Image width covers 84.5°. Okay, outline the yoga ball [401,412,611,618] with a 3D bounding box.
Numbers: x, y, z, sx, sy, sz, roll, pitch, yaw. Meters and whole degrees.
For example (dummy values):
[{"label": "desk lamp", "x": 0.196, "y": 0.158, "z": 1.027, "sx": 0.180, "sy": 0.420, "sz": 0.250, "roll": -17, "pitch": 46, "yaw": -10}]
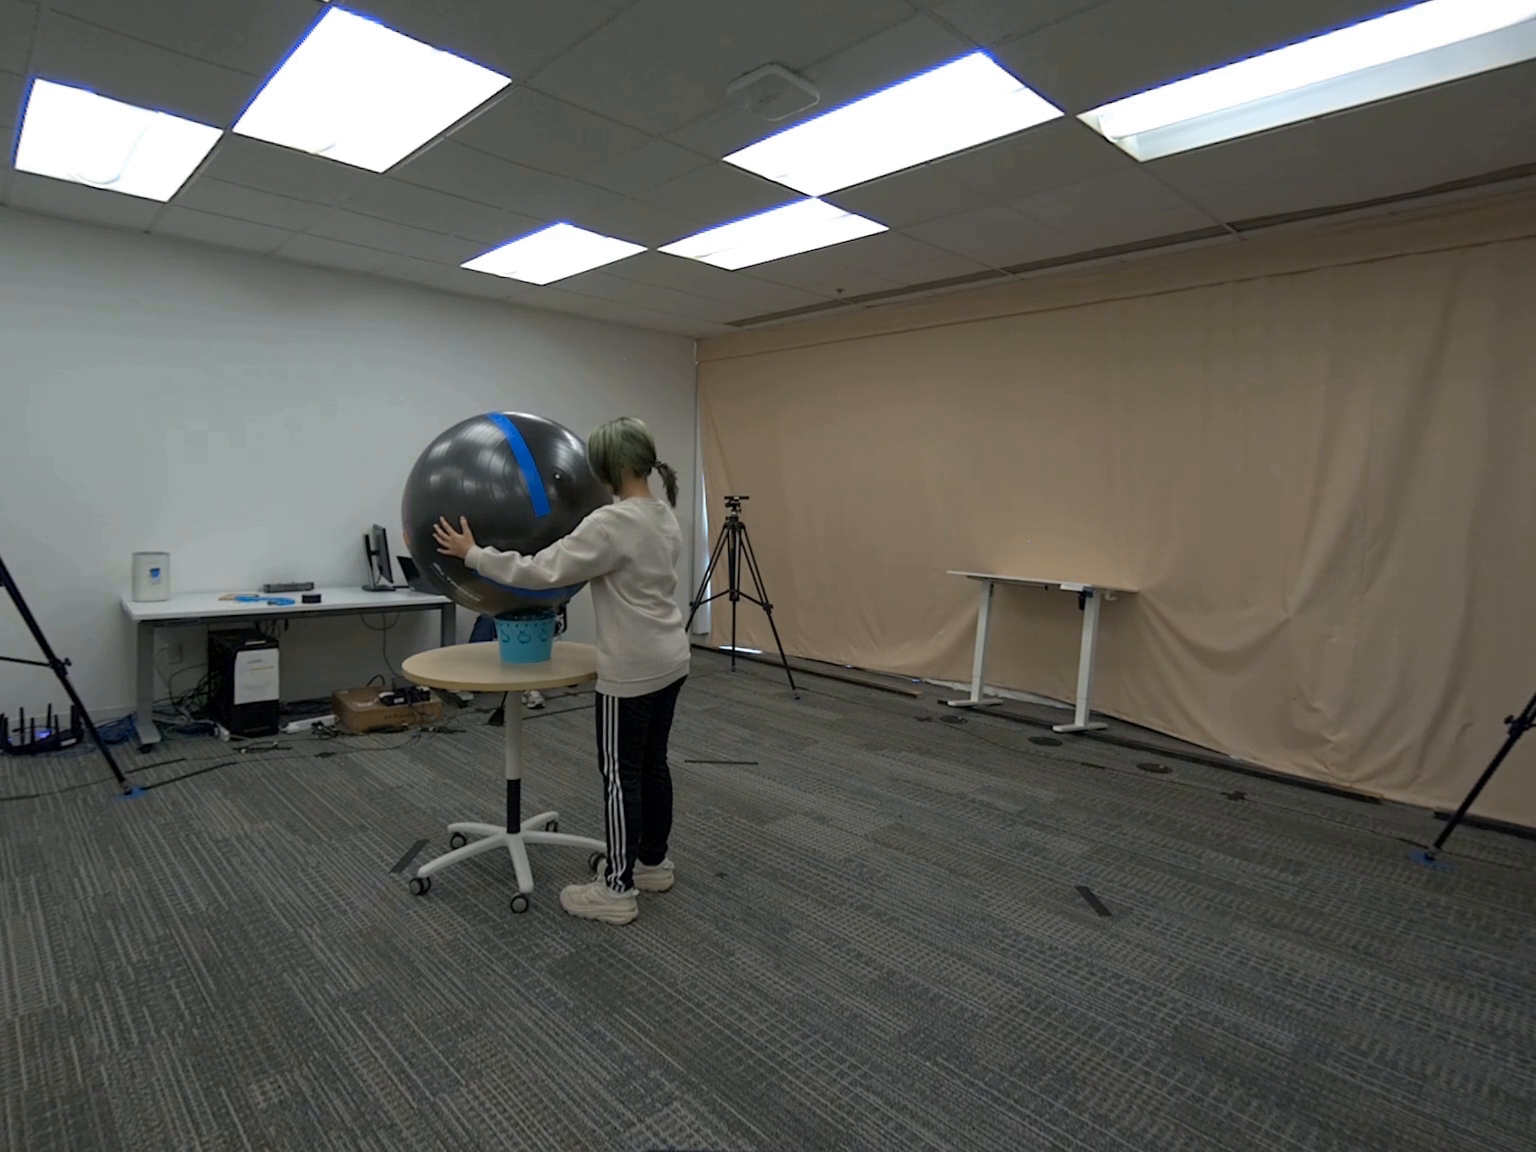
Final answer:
[{"label": "yoga ball", "x": -0.960, "y": -0.223, "z": 3.115, "sx": 0.757, "sy": 0.756, "sz": 0.761, "roll": 1, "pitch": 4, "yaw": -1}]
